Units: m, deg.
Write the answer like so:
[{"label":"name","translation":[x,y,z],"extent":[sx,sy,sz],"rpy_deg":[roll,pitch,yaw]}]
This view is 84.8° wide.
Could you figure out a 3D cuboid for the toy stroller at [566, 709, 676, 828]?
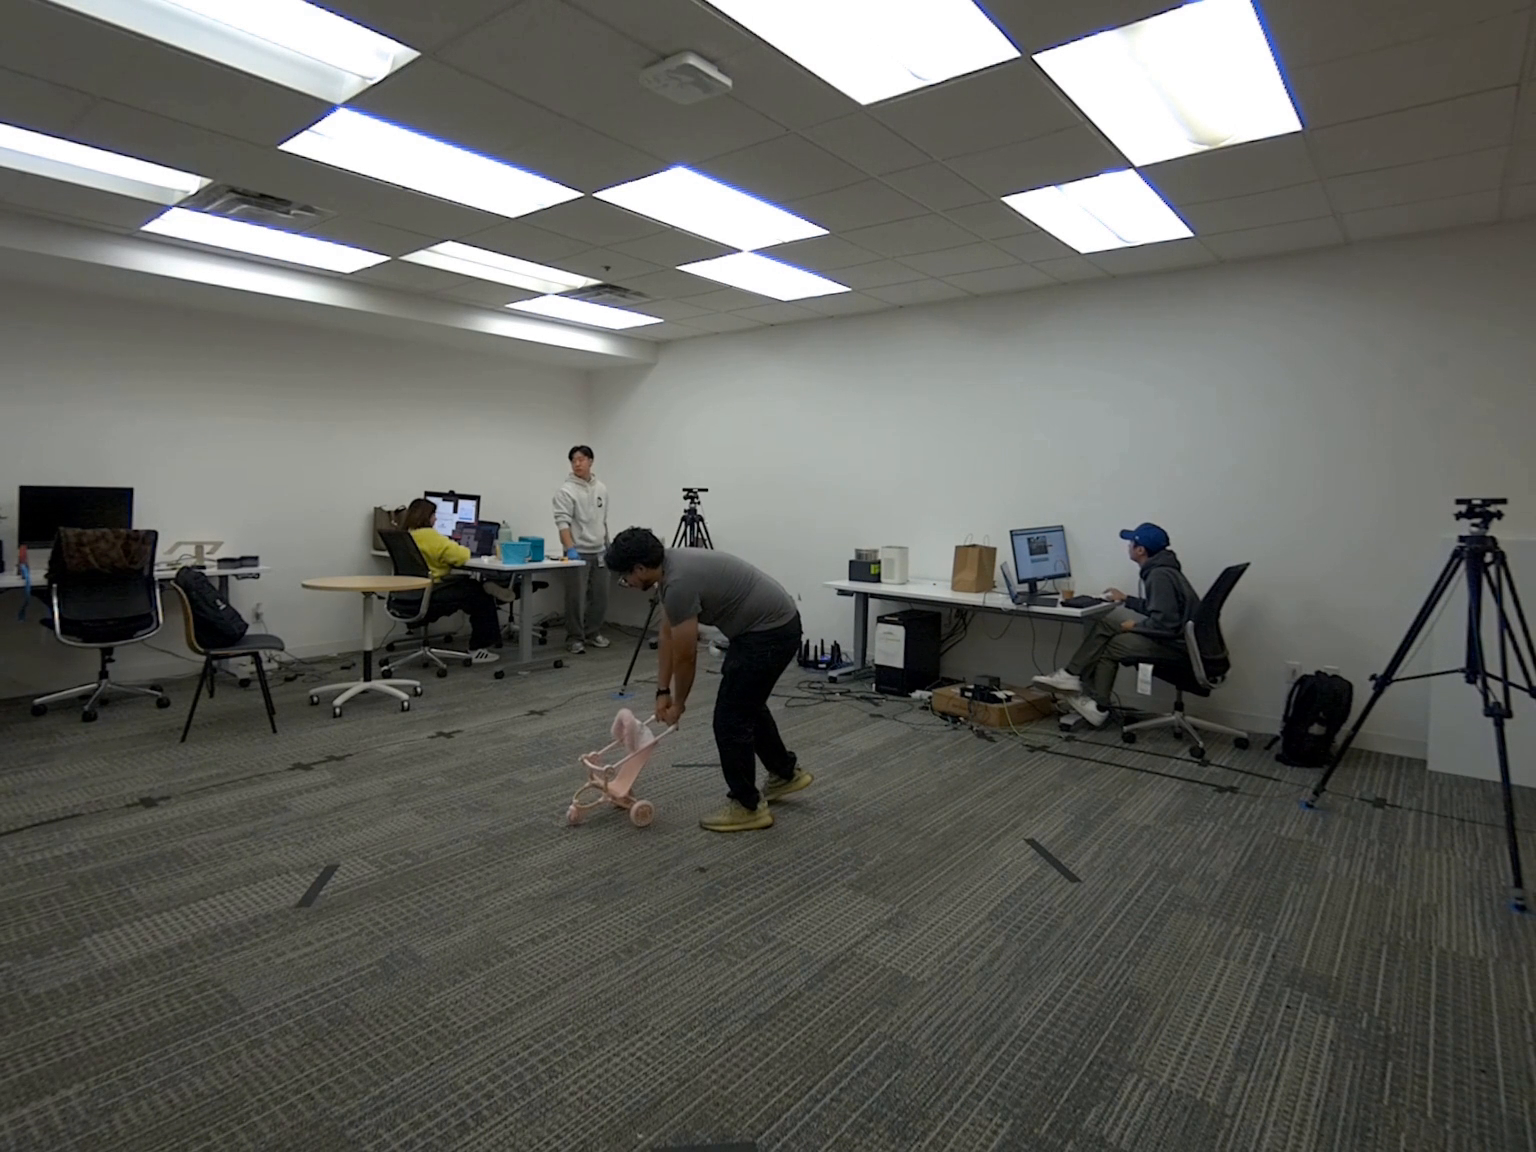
[{"label":"toy stroller","translation":[-0.641,0.796,3.570],"extent":[0.332,0.536,0.288],"rpy_deg":[19,-4,-23]}]
